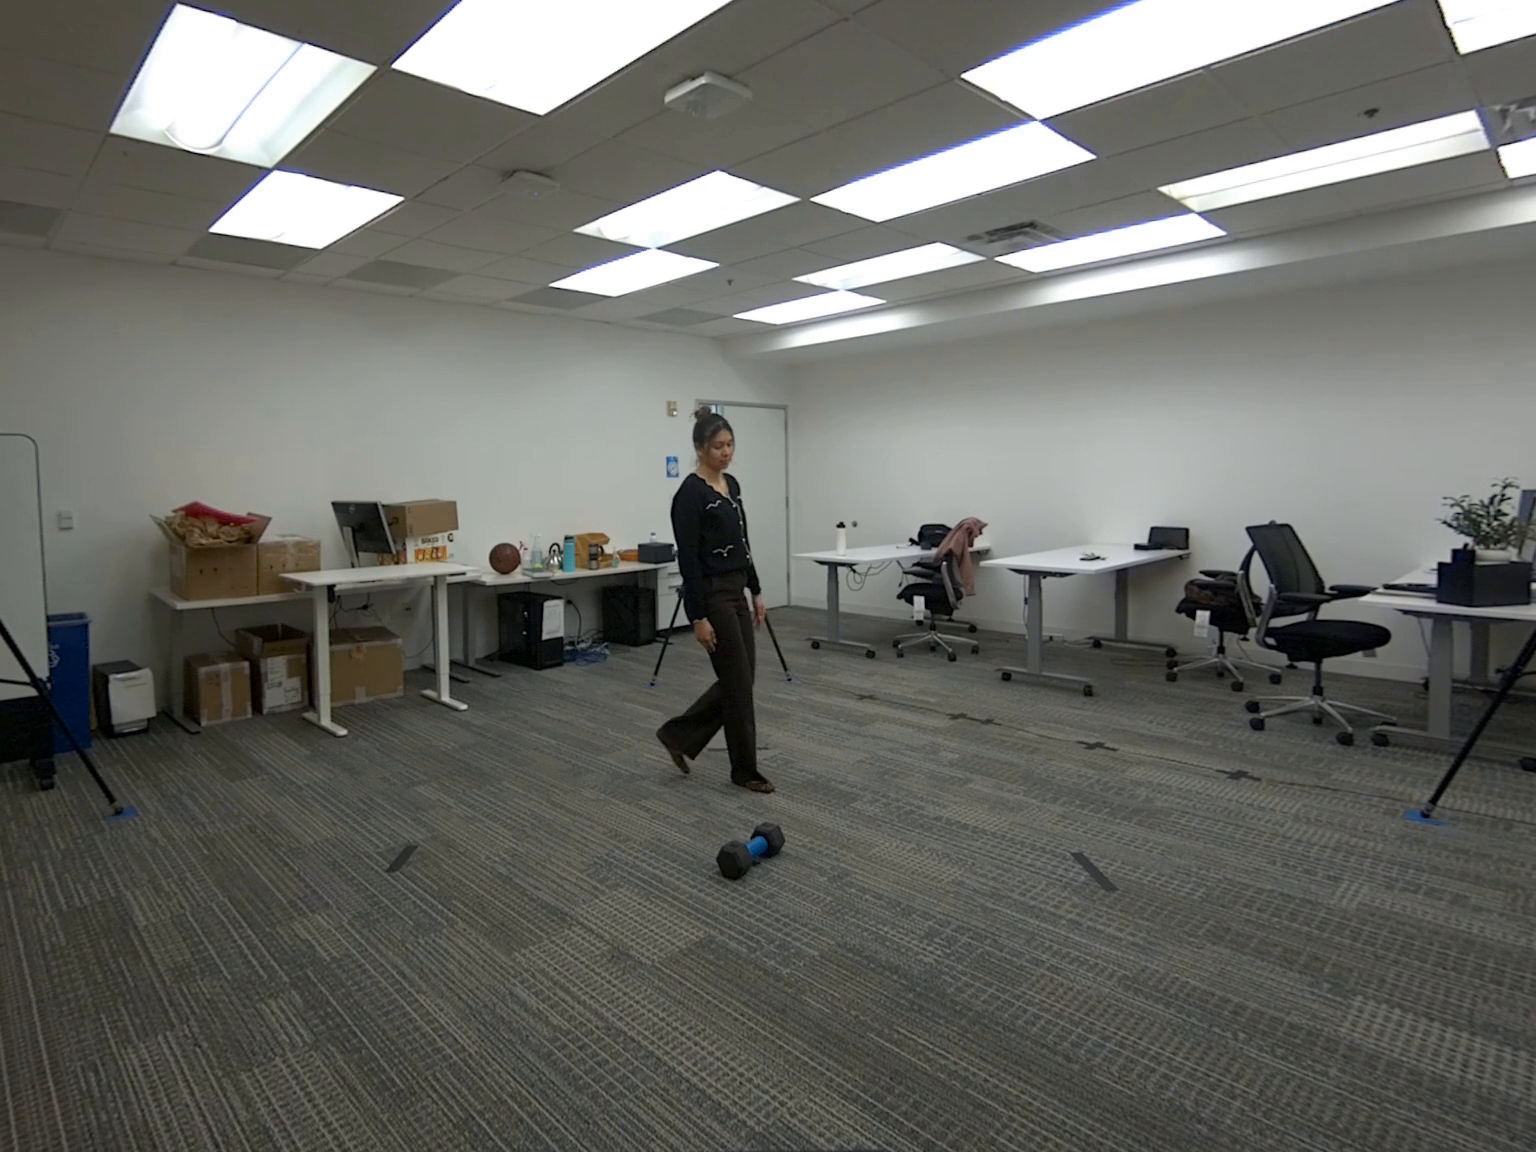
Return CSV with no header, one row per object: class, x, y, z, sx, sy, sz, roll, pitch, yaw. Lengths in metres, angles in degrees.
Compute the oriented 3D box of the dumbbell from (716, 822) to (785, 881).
dumbbell,-0.057,0.995,3.097,0.112,0.122,0.286,35,23,27
